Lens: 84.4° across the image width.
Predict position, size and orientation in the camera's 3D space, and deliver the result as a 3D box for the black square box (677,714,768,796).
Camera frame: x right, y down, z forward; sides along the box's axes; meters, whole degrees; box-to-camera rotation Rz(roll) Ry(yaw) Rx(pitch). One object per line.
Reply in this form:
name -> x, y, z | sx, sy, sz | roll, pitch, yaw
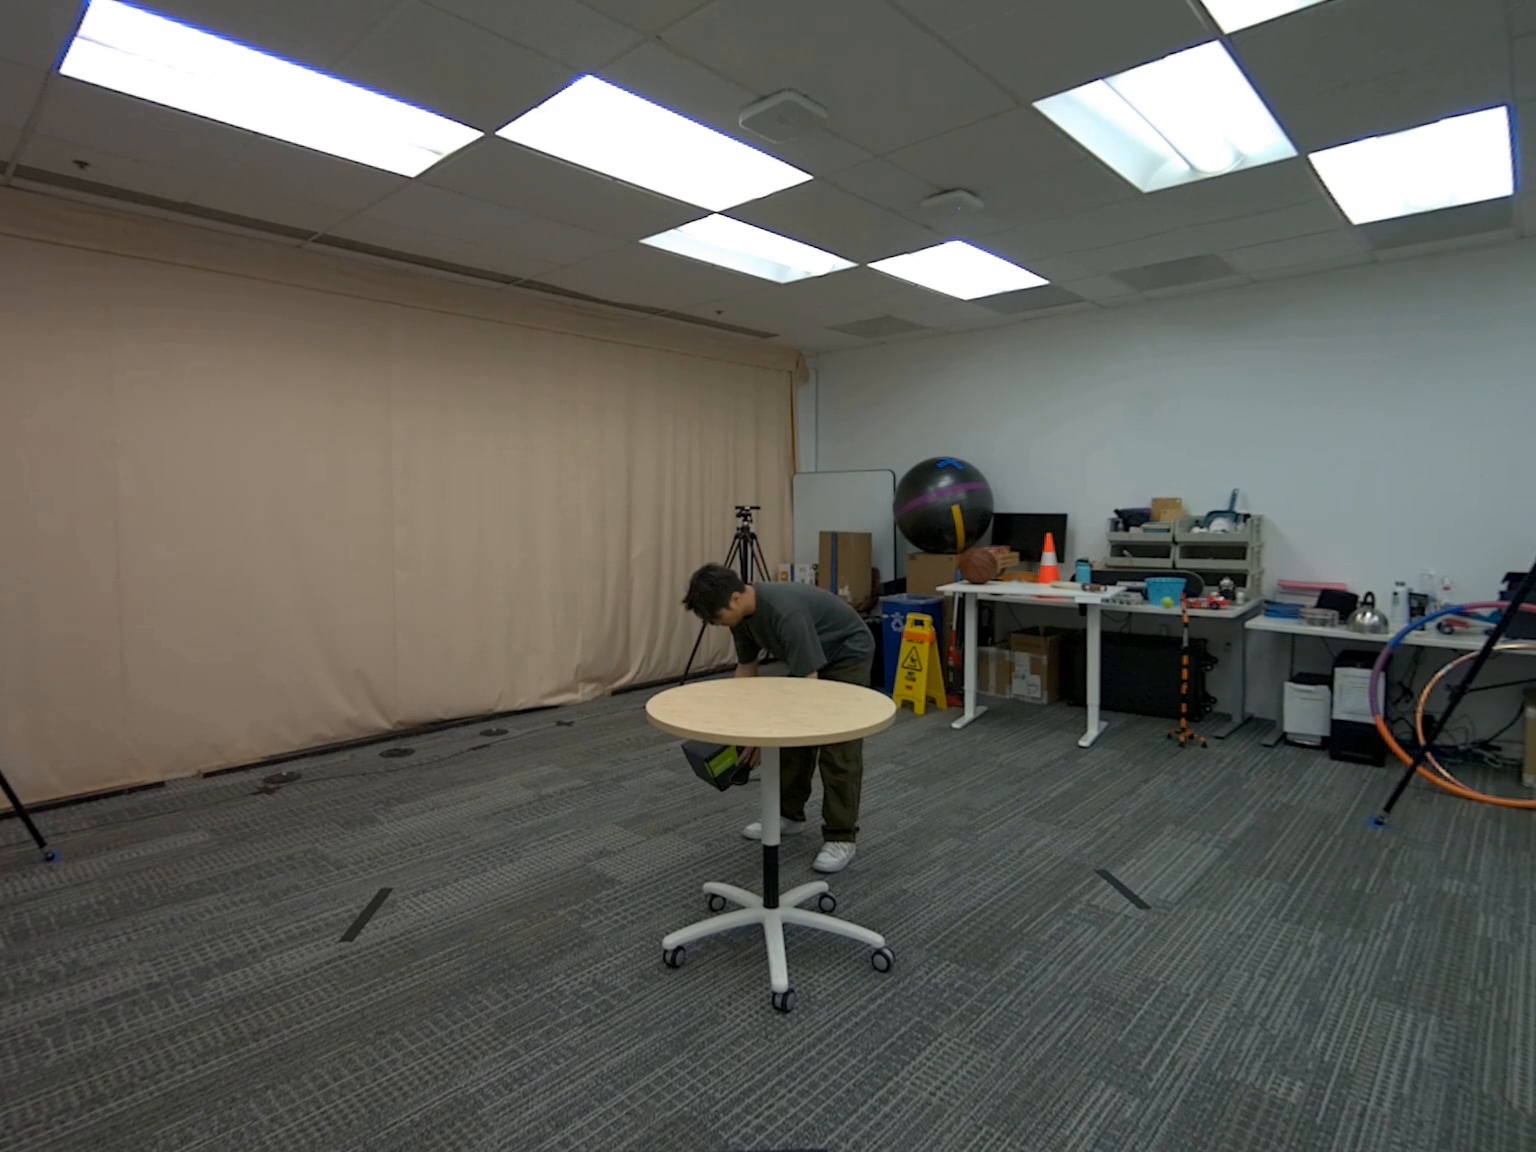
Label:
black square box -> -0.179, 0.684, 3.269 | 0.225, 0.153, 0.223 | -33, 18, -25
